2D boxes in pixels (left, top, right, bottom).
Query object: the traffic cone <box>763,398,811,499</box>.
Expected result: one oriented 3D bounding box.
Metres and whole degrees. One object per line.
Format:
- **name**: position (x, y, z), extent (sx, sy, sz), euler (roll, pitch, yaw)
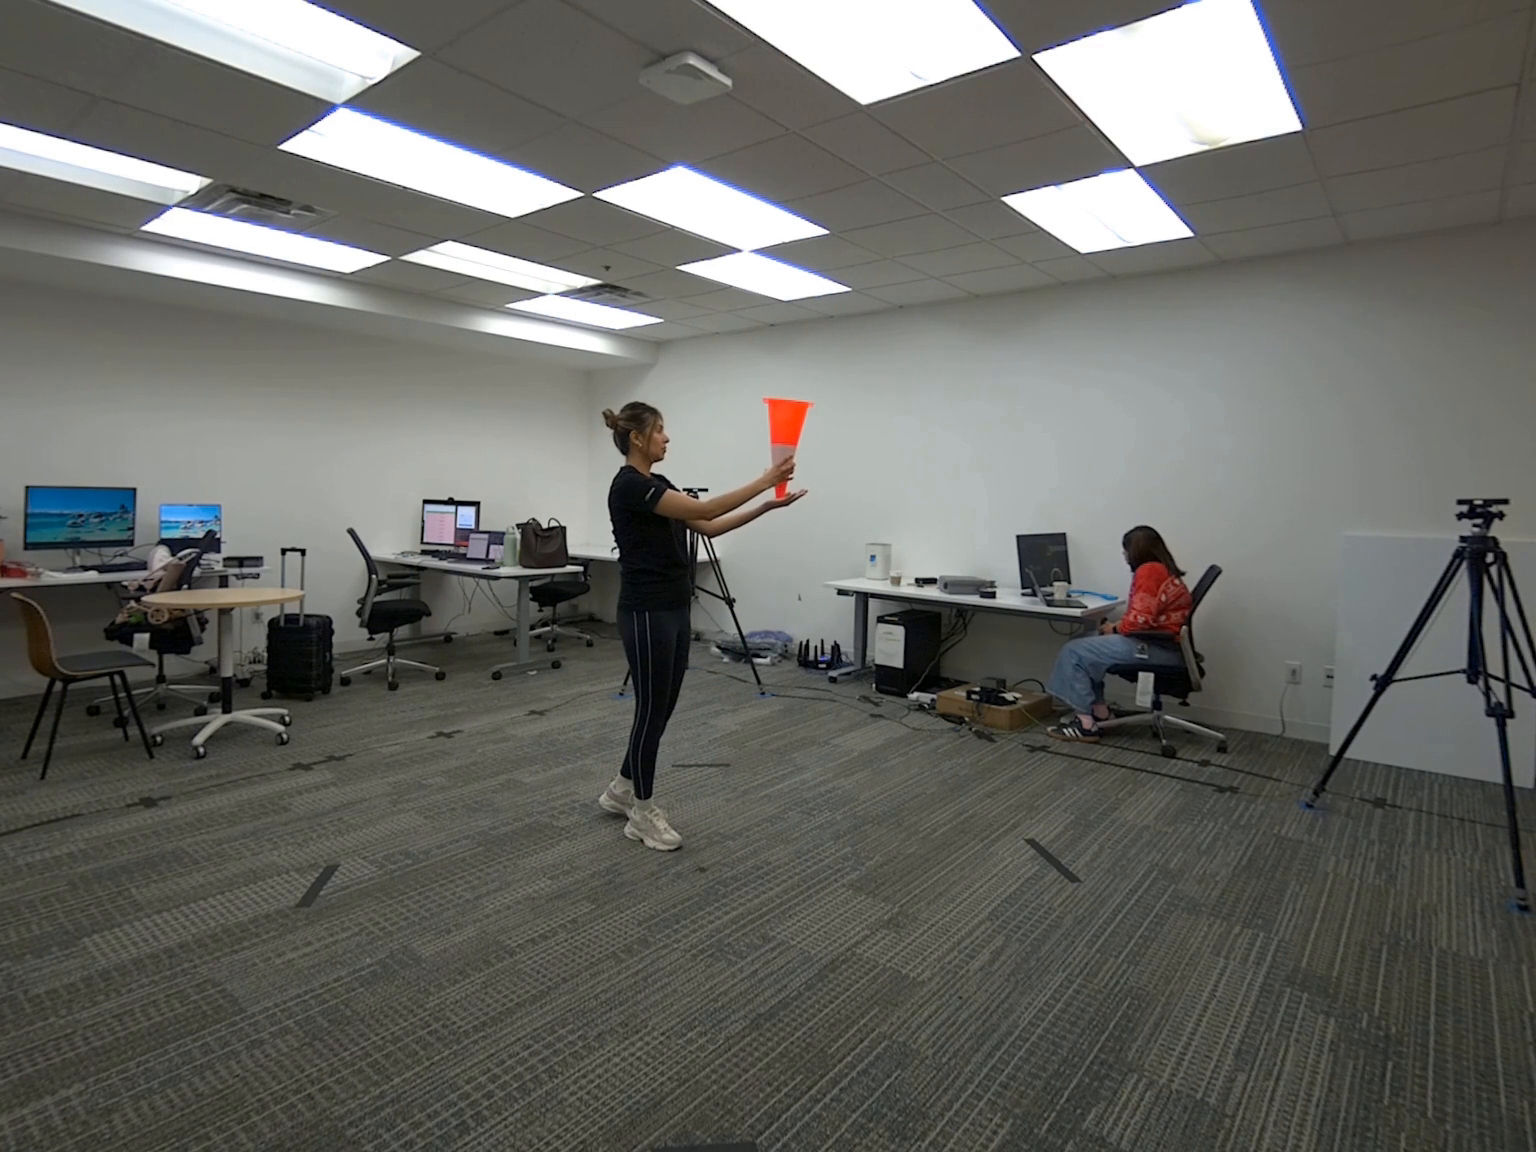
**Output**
- **traffic cone**: position (0.048, -0.487, 3.309), extent (0.204, 0.382, 0.205), euler (5, 5, 1)
